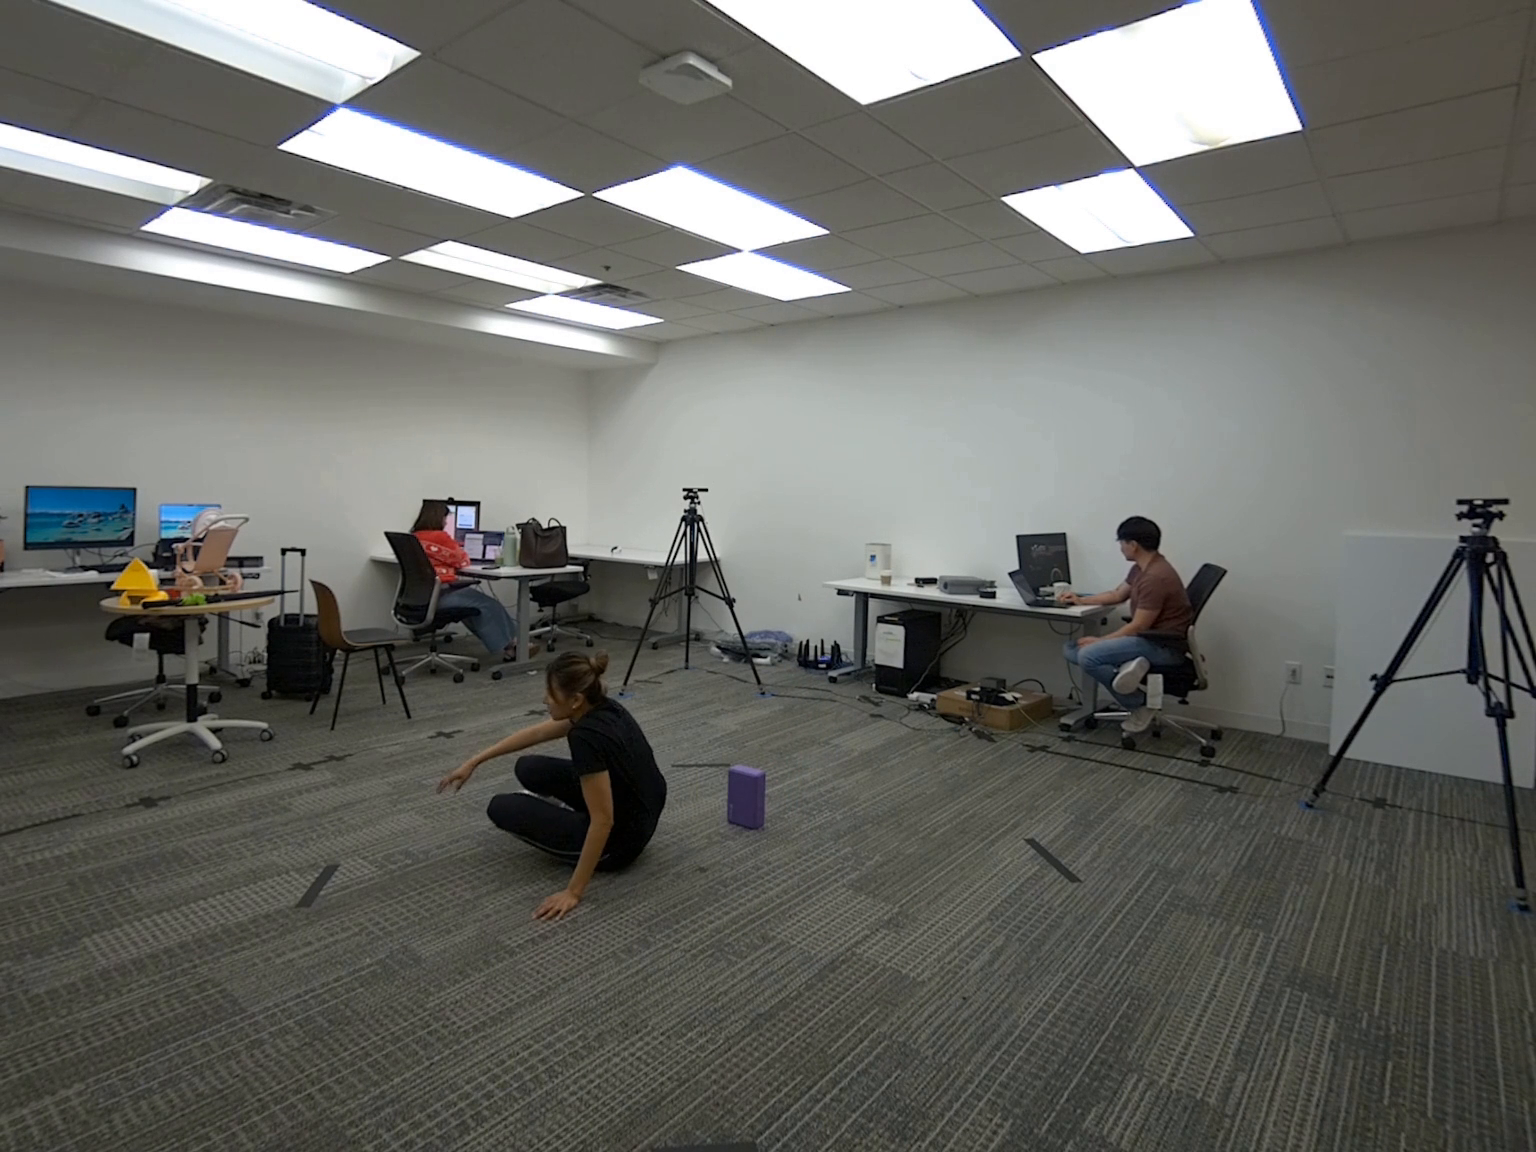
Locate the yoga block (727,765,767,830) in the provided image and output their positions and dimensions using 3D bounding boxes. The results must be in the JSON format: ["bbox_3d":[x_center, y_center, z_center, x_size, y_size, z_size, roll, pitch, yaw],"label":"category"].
[{"bbox_3d":[-0.103,0.912,3.536,0.153,0.228,0.074,3,5,34],"label":"yoga block"}]
